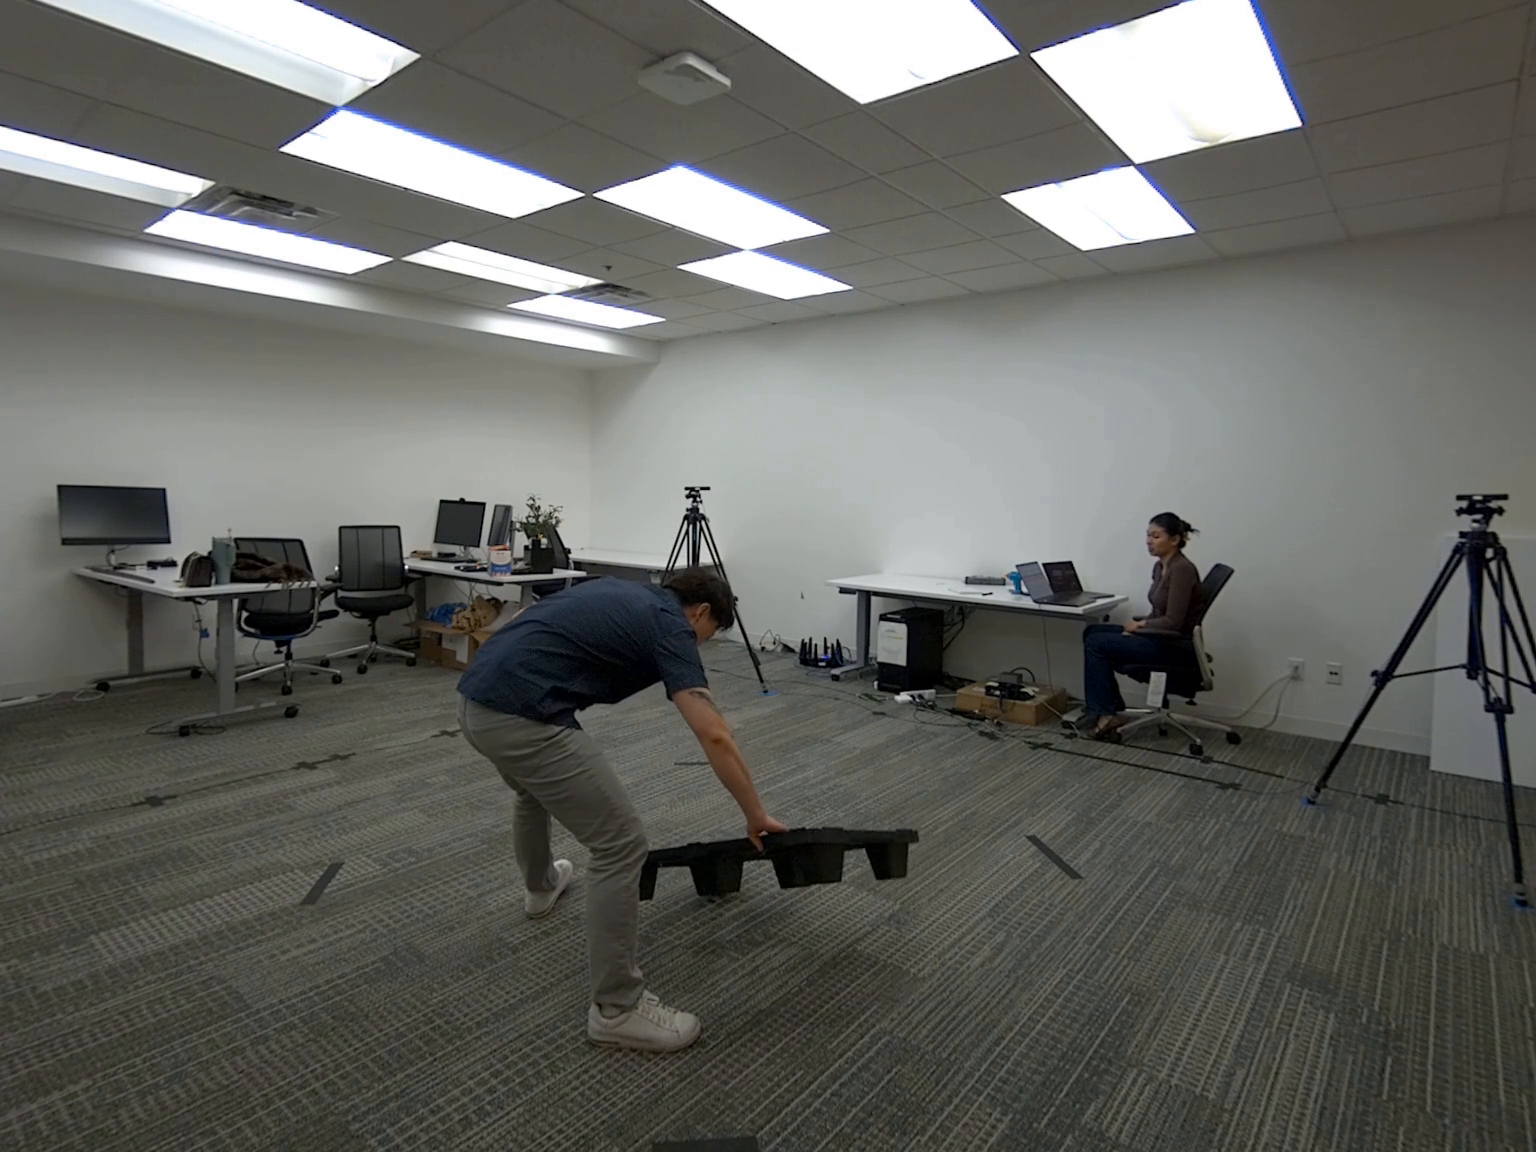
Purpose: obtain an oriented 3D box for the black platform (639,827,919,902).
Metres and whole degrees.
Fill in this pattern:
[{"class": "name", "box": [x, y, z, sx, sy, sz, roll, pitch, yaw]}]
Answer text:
[{"class": "black platform", "box": [-0.033, 0.874, 2.571, 0.820, 0.146, 0.581, -19, -25, 33]}]
